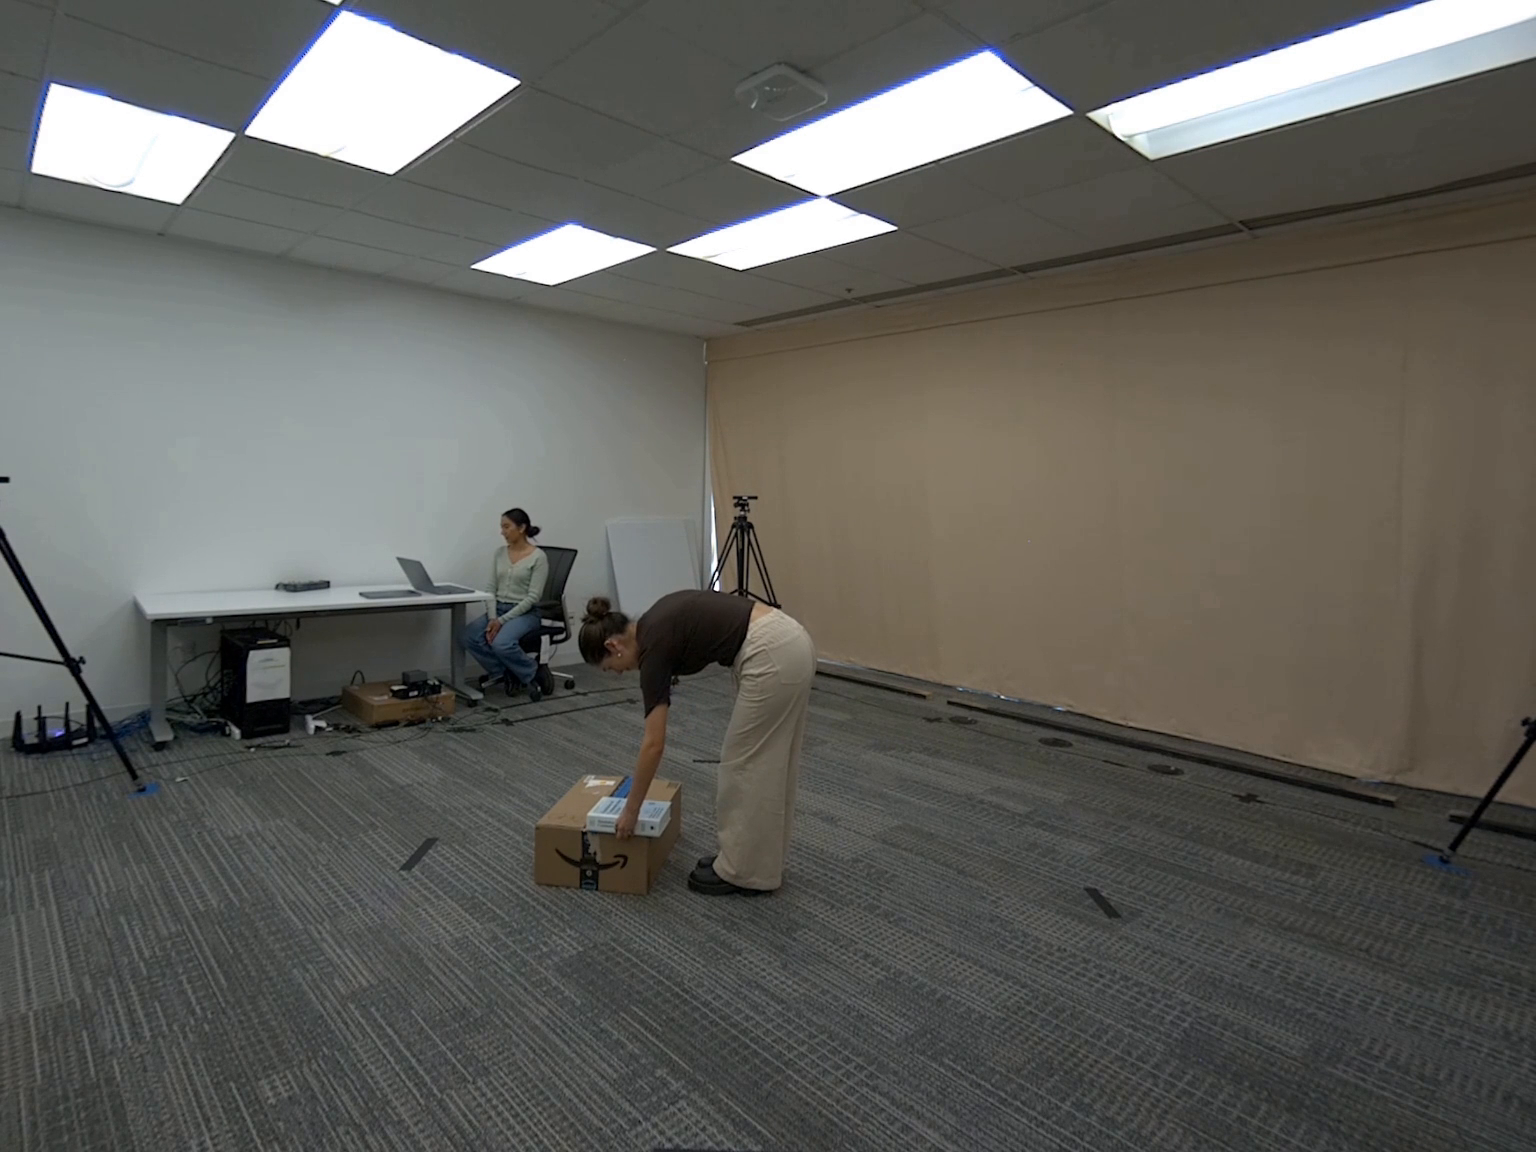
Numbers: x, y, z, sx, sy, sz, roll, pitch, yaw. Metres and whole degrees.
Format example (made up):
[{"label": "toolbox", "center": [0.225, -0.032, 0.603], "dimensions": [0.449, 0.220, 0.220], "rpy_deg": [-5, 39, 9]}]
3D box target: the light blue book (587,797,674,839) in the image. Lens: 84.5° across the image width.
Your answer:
[{"label": "light blue book", "center": [-0.487, 0.857, 3.011], "dimensions": [0.263, 0.059, 0.190], "rpy_deg": [2, 4, 7]}]
